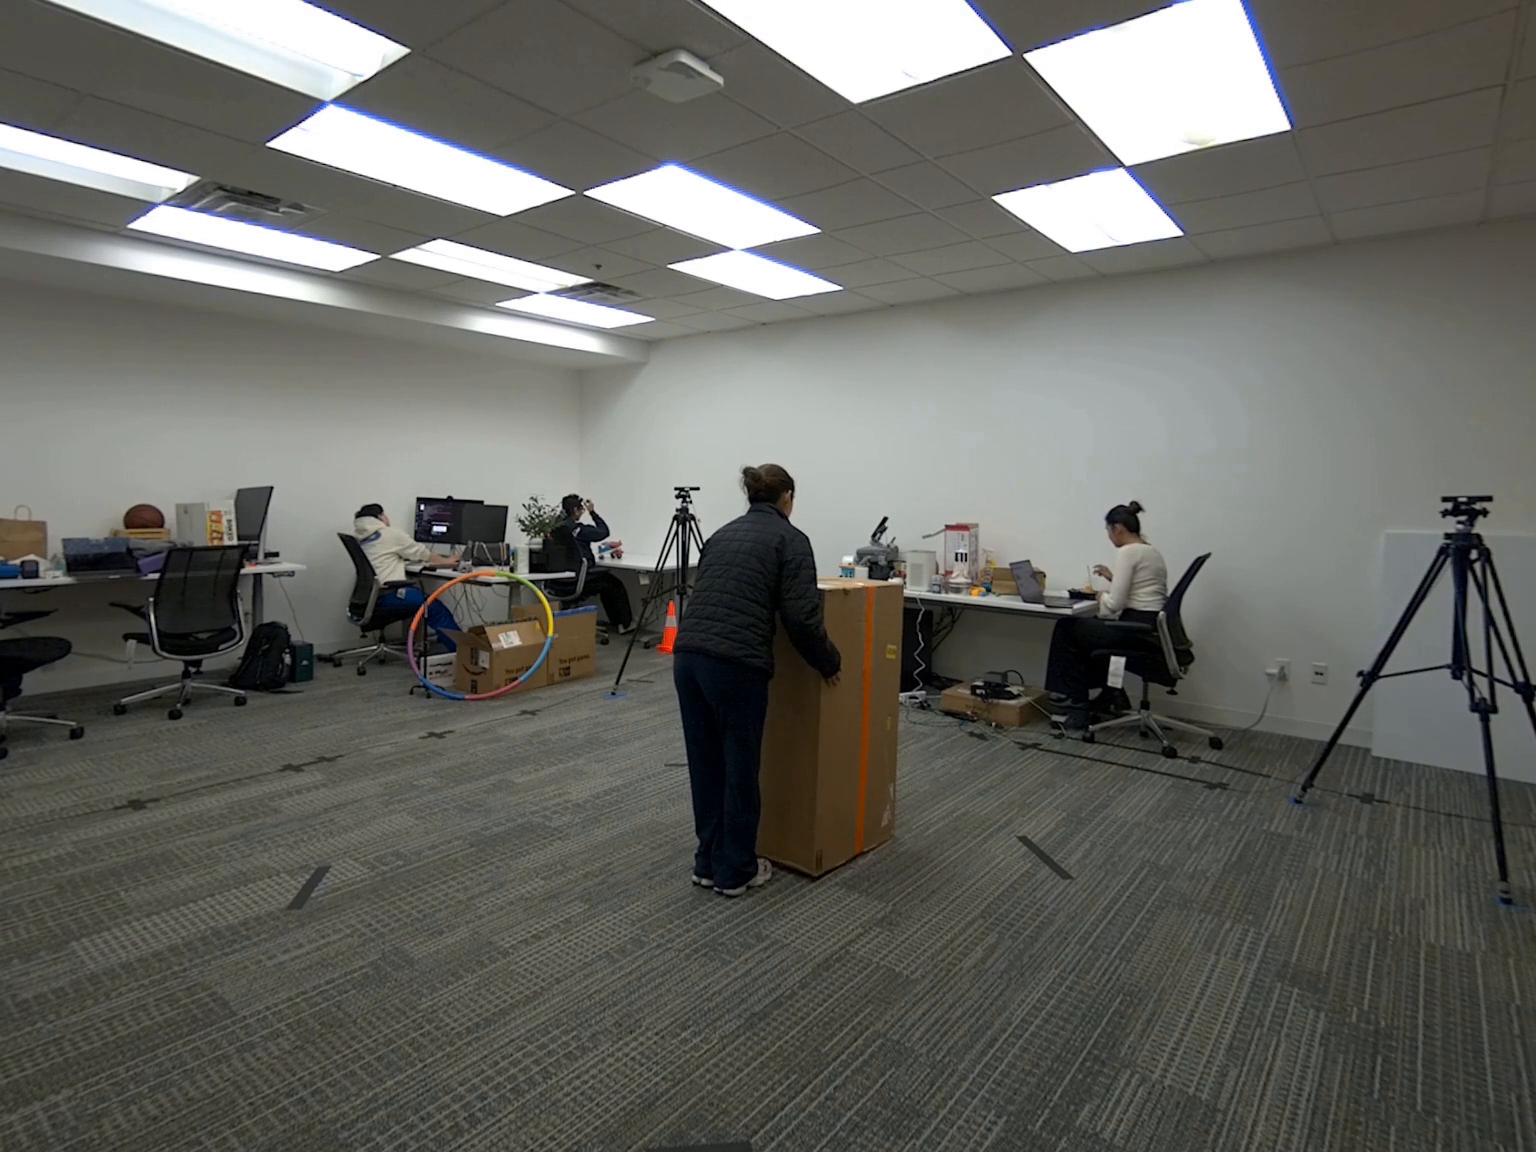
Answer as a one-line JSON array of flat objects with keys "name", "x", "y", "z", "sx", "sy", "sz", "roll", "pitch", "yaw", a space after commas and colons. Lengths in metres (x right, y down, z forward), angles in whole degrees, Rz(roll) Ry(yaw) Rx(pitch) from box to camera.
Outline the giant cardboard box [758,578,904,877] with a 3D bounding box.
[{"name": "giant cardboard box", "x": 0.217, "y": 0.526, "z": 3.367, "sx": 0.440, "sy": 1.025, "sz": 0.559, "roll": 3, "pitch": 1, "yaw": 39}]
